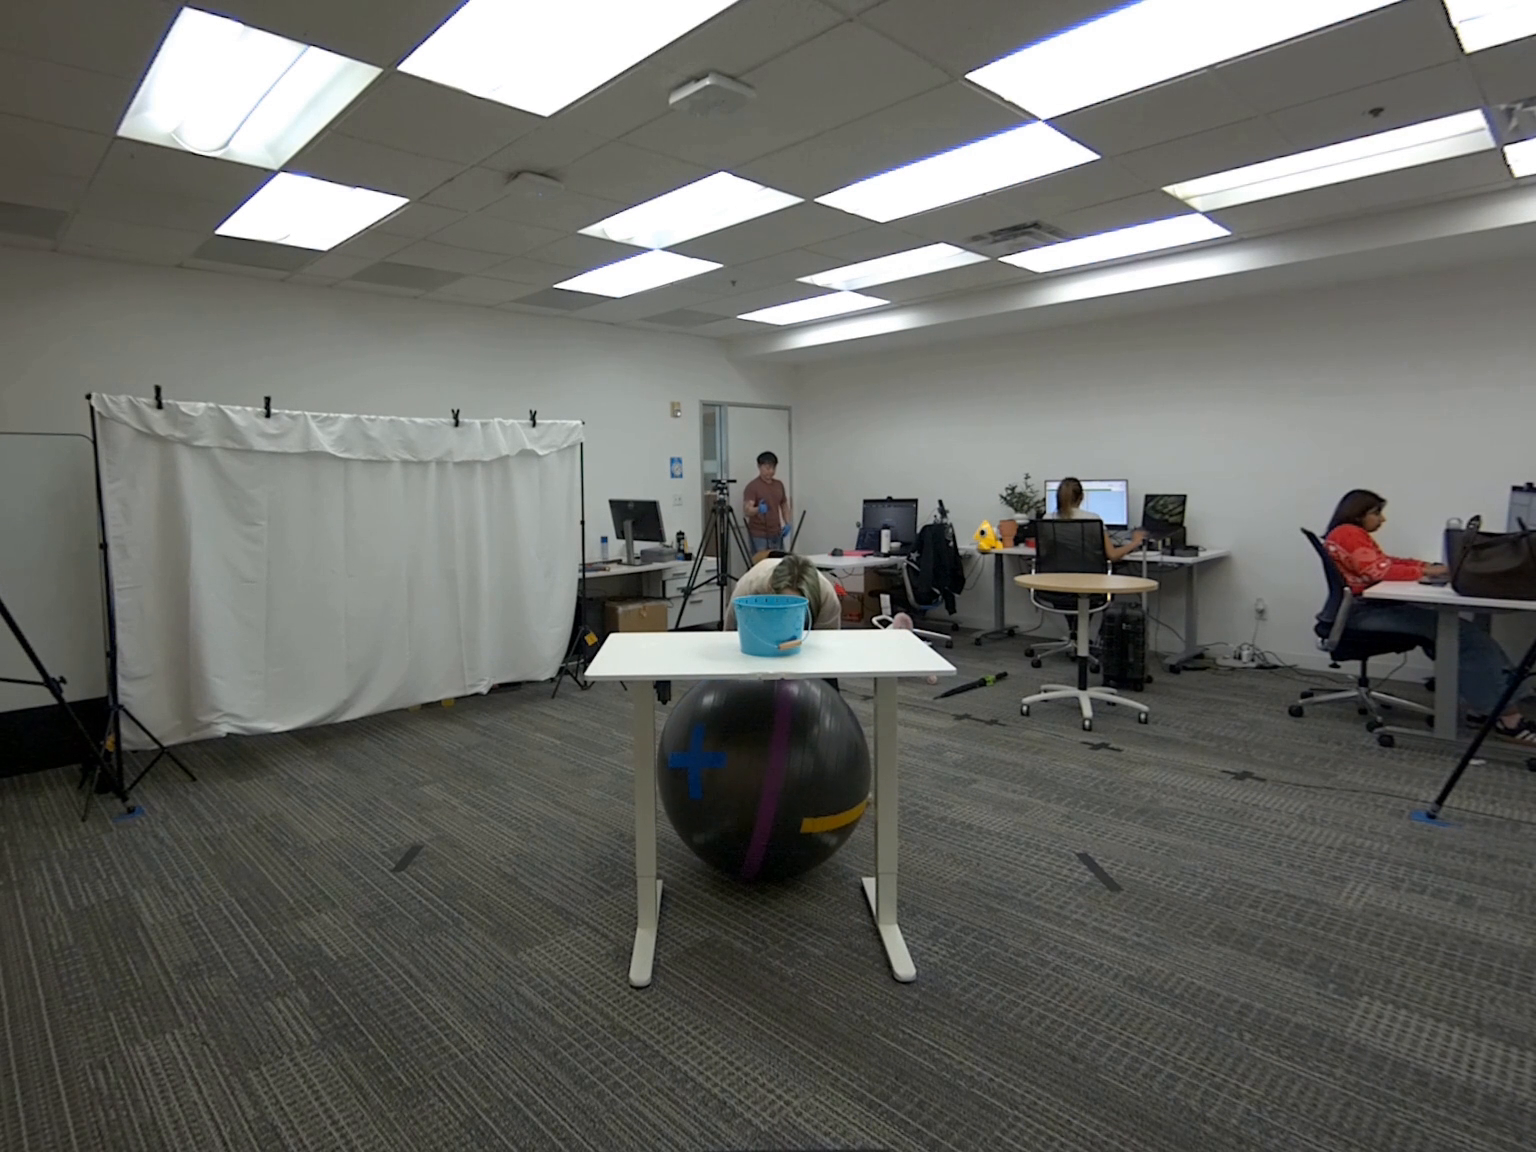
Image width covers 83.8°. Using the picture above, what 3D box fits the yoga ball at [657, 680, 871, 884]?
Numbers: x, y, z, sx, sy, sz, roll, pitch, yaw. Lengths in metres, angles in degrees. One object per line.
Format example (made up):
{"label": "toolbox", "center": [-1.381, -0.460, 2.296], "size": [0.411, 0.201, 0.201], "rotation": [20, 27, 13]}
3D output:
{"label": "yoga ball", "center": [-0.016, 0.685, 3.048], "size": [0.757, 0.755, 0.762], "rotation": [-1, 5, -2]}
